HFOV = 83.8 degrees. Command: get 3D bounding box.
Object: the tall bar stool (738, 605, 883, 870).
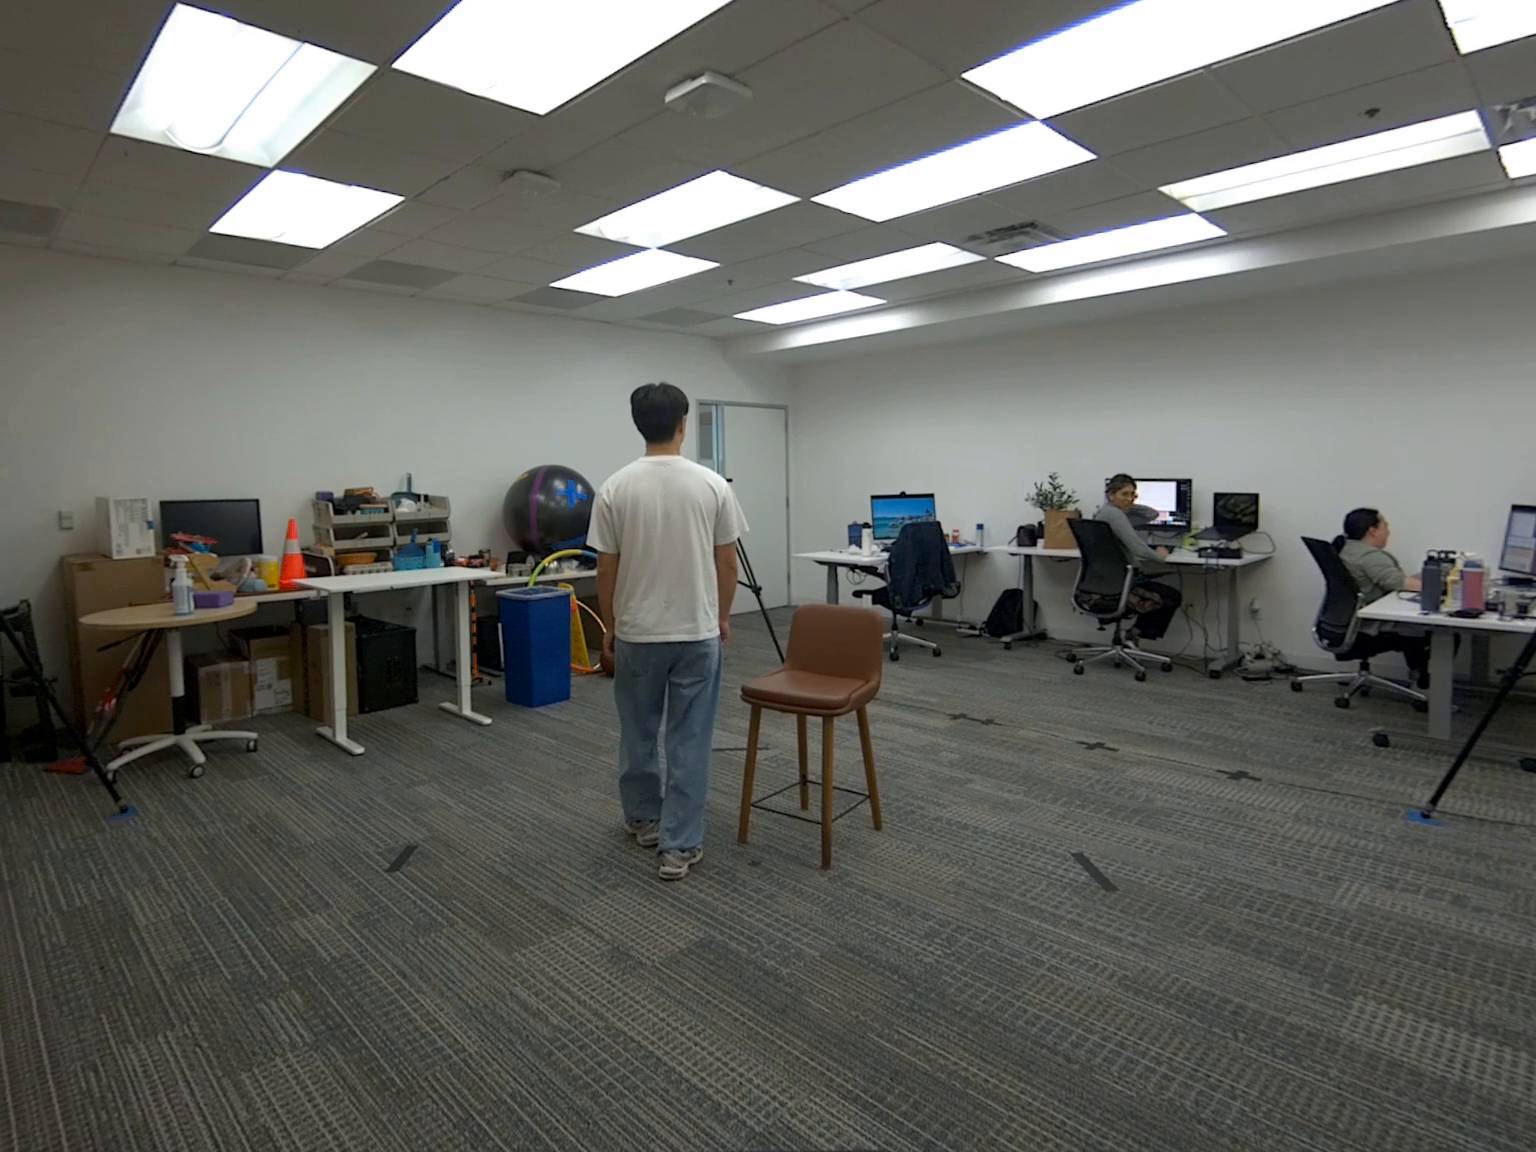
[{"bbox_3d":[0.176,0.580,3.319,0.470,0.888,0.455,2,3,38],"label":"tall bar stool"}]
